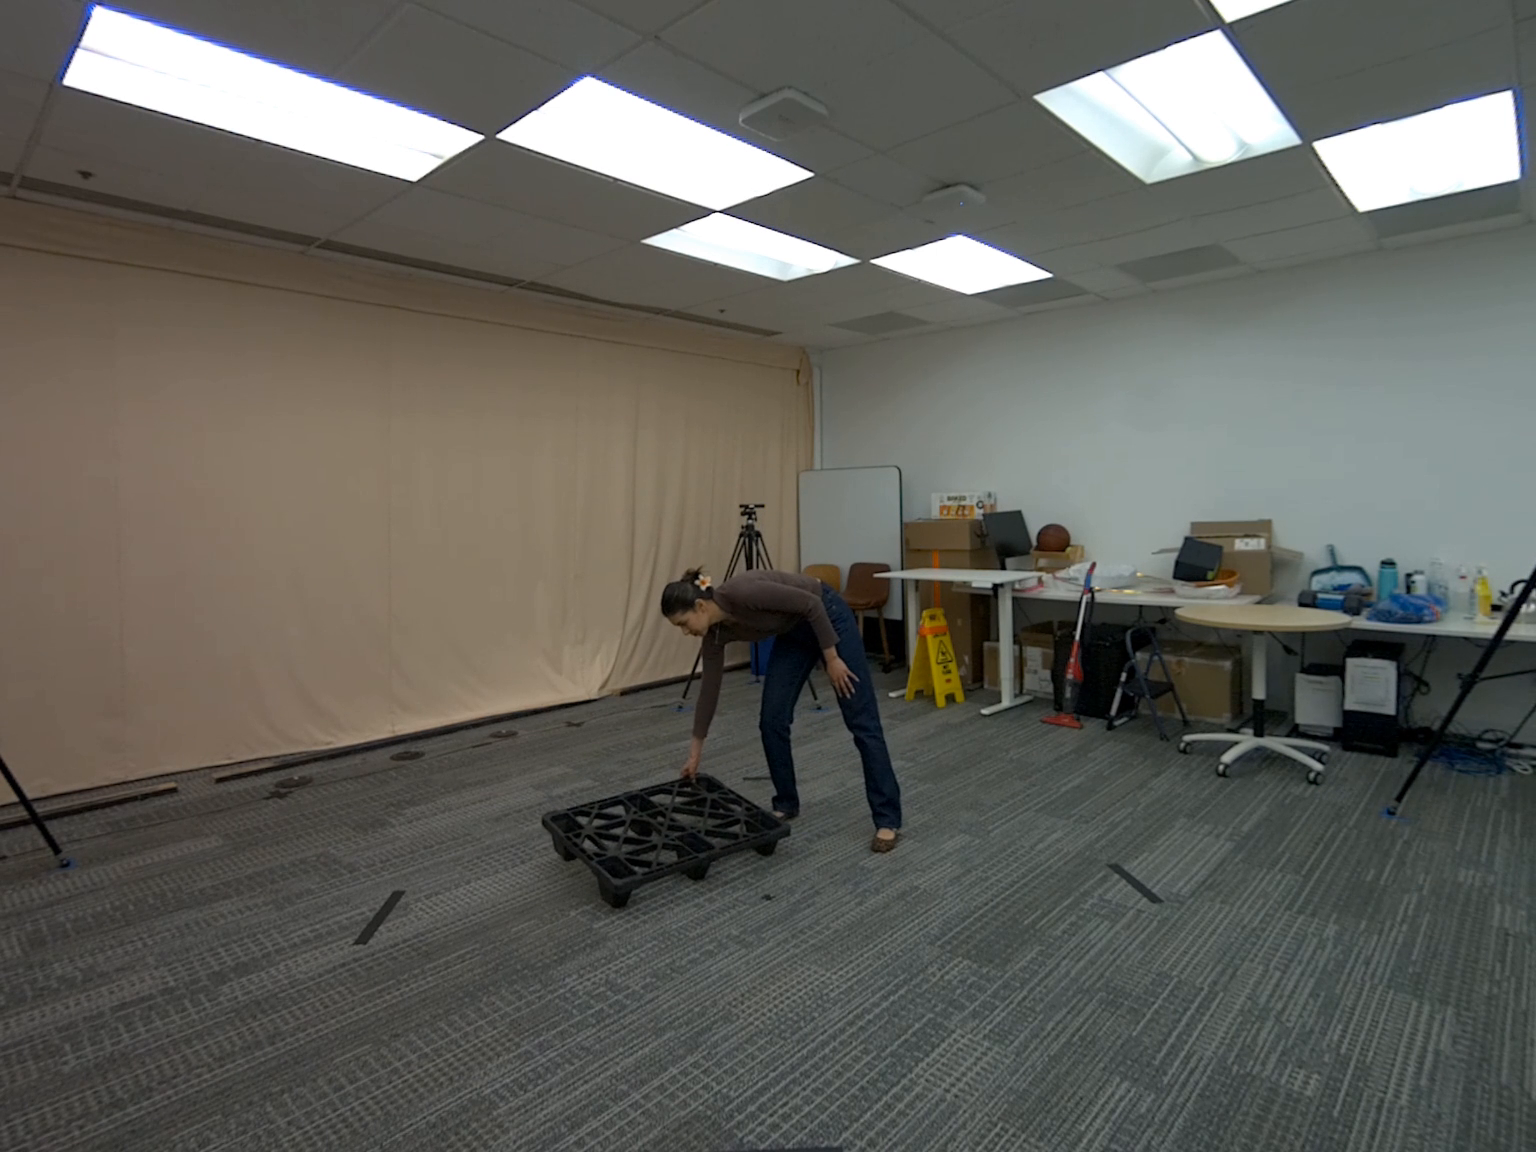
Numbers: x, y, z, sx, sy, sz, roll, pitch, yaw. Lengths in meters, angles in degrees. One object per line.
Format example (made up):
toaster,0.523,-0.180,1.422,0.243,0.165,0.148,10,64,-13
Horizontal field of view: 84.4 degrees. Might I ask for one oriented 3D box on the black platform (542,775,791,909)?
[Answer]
black platform,-0.398,1.028,3.312,0.782,0.142,0.627,-6,14,-38
